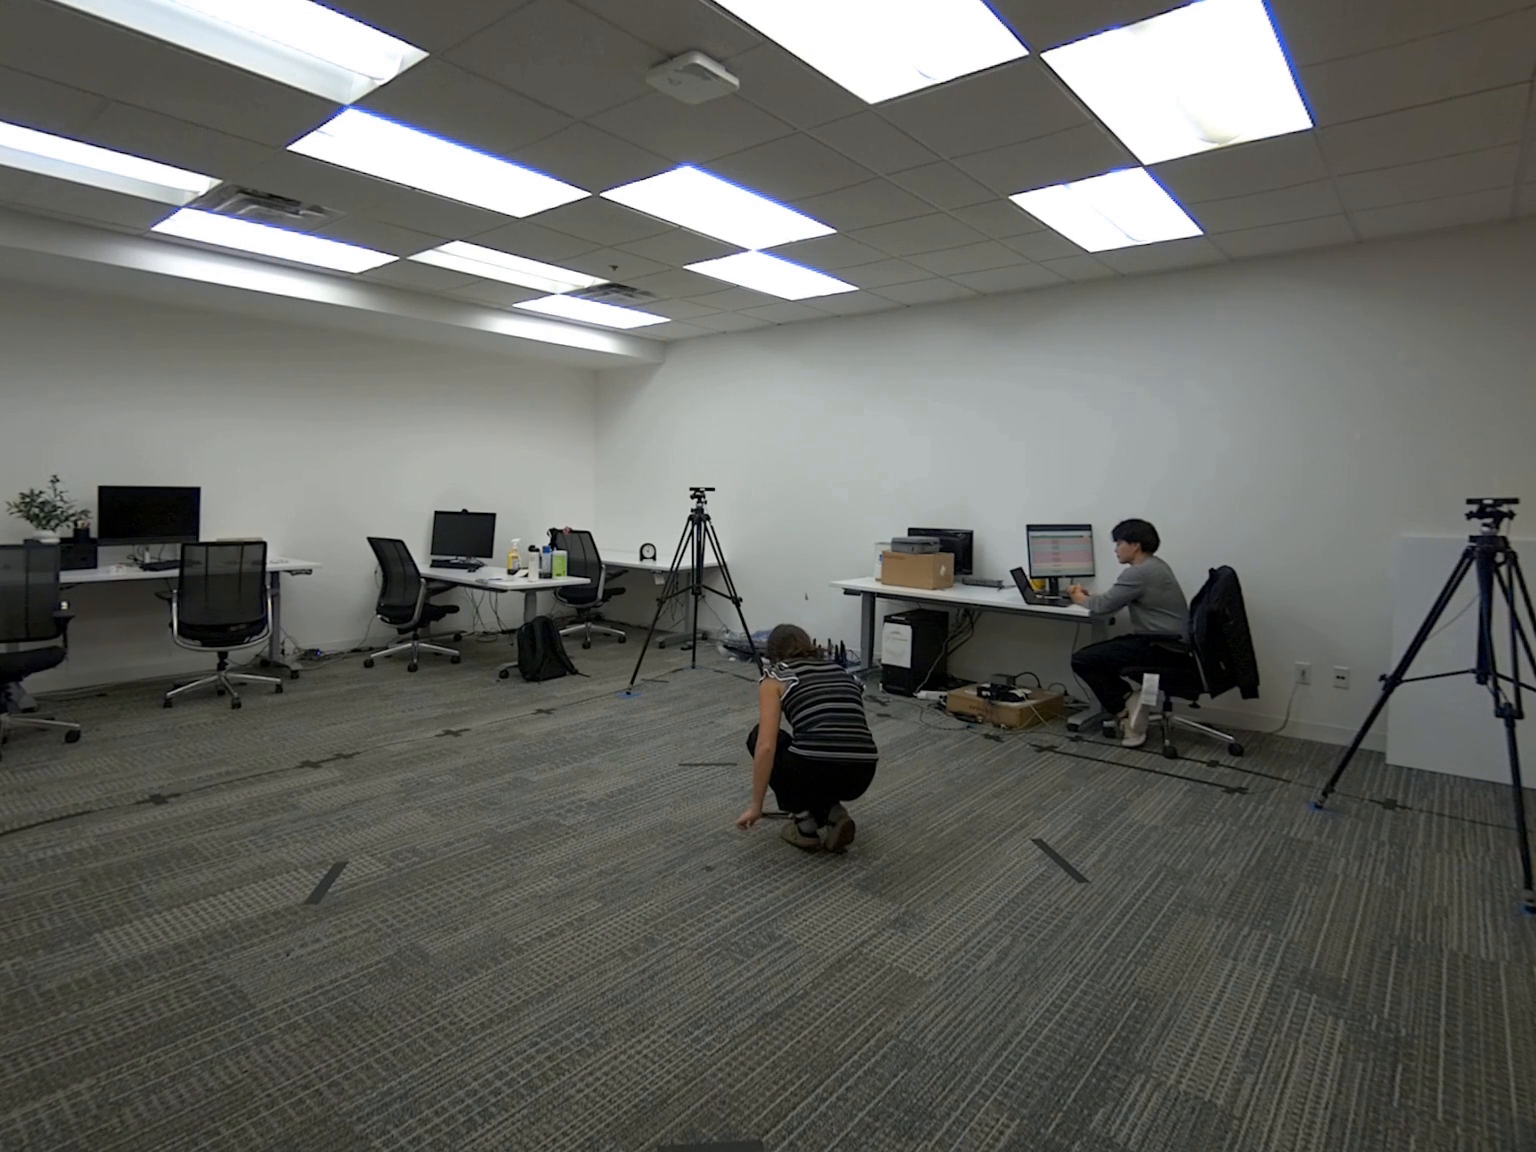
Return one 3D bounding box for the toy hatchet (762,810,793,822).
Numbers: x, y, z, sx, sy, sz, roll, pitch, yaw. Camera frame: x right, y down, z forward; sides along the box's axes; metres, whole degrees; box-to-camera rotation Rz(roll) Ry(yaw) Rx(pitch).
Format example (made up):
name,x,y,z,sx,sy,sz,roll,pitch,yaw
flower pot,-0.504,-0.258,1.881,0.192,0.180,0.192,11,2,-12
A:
name,x,y,z,sx,sy,sz,roll,pitch,yaw
toy hatchet,0.084,0.995,3.650,0.273,0.029,0.130,2,3,9
